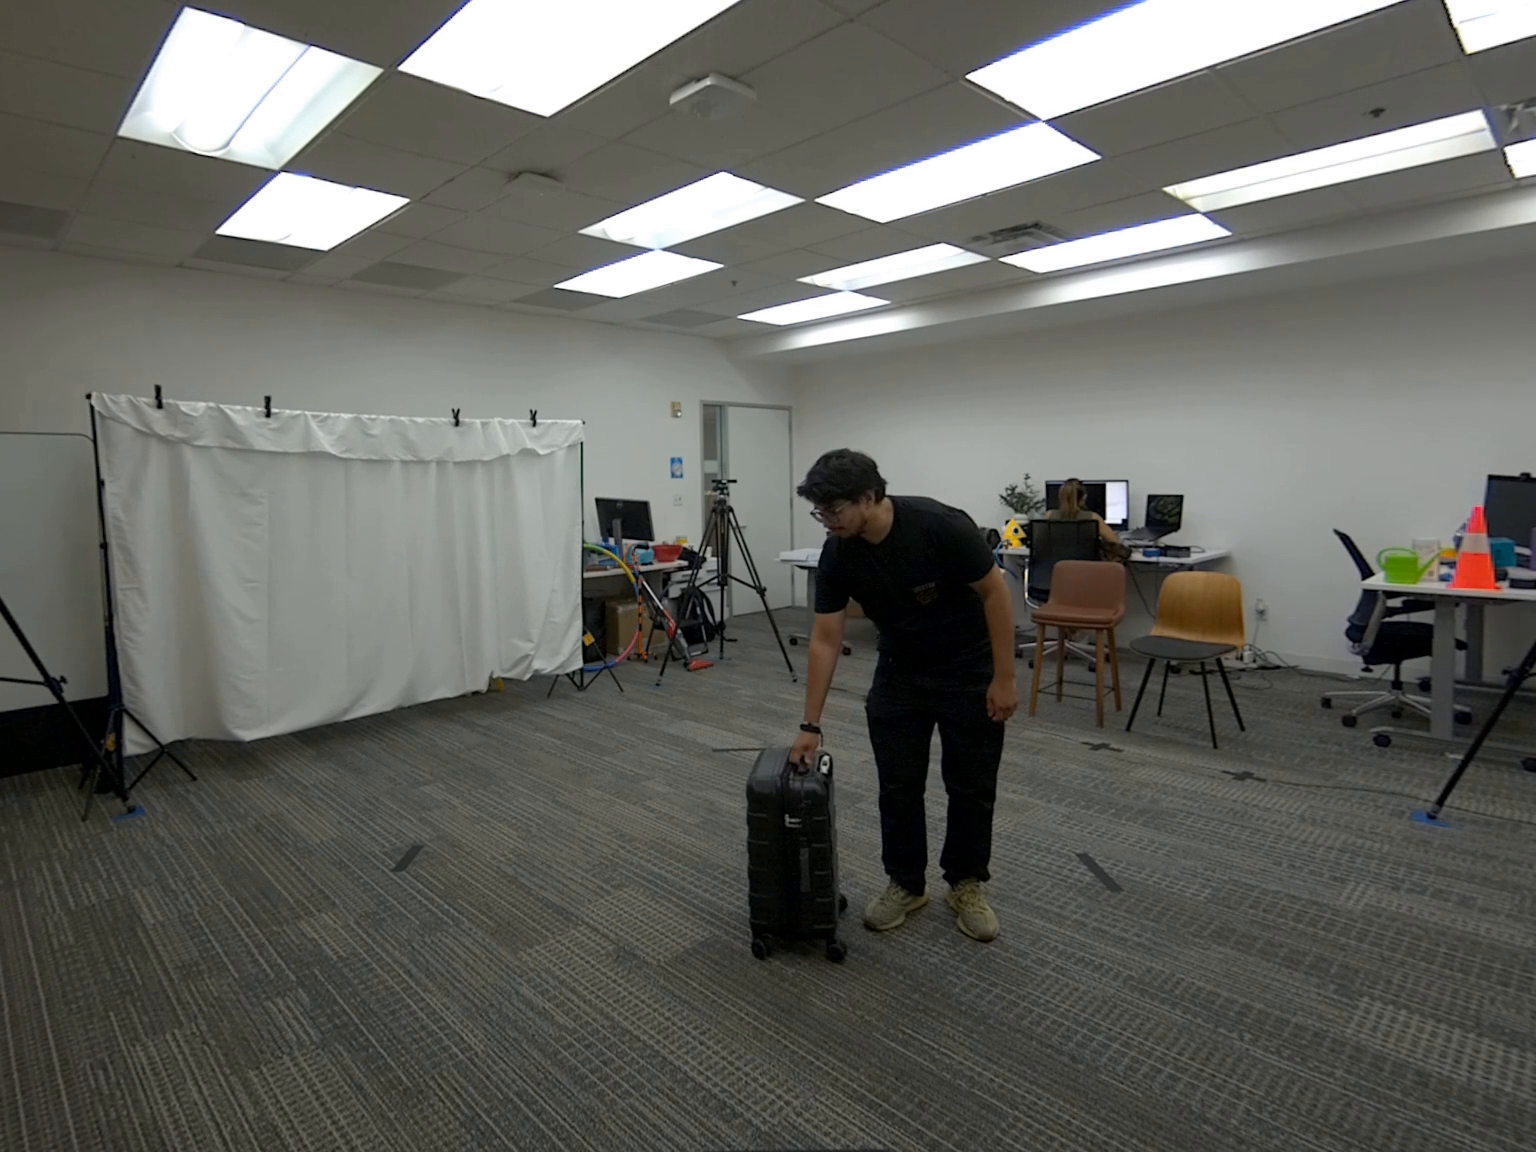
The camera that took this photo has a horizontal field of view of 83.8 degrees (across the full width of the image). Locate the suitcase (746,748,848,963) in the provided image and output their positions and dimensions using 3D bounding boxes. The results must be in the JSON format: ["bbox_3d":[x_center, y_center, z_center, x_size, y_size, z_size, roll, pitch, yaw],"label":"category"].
[{"bbox_3d":[0.090,0.829,2.630,0.250,0.548,0.374,-3,3,5],"label":"suitcase"}]
